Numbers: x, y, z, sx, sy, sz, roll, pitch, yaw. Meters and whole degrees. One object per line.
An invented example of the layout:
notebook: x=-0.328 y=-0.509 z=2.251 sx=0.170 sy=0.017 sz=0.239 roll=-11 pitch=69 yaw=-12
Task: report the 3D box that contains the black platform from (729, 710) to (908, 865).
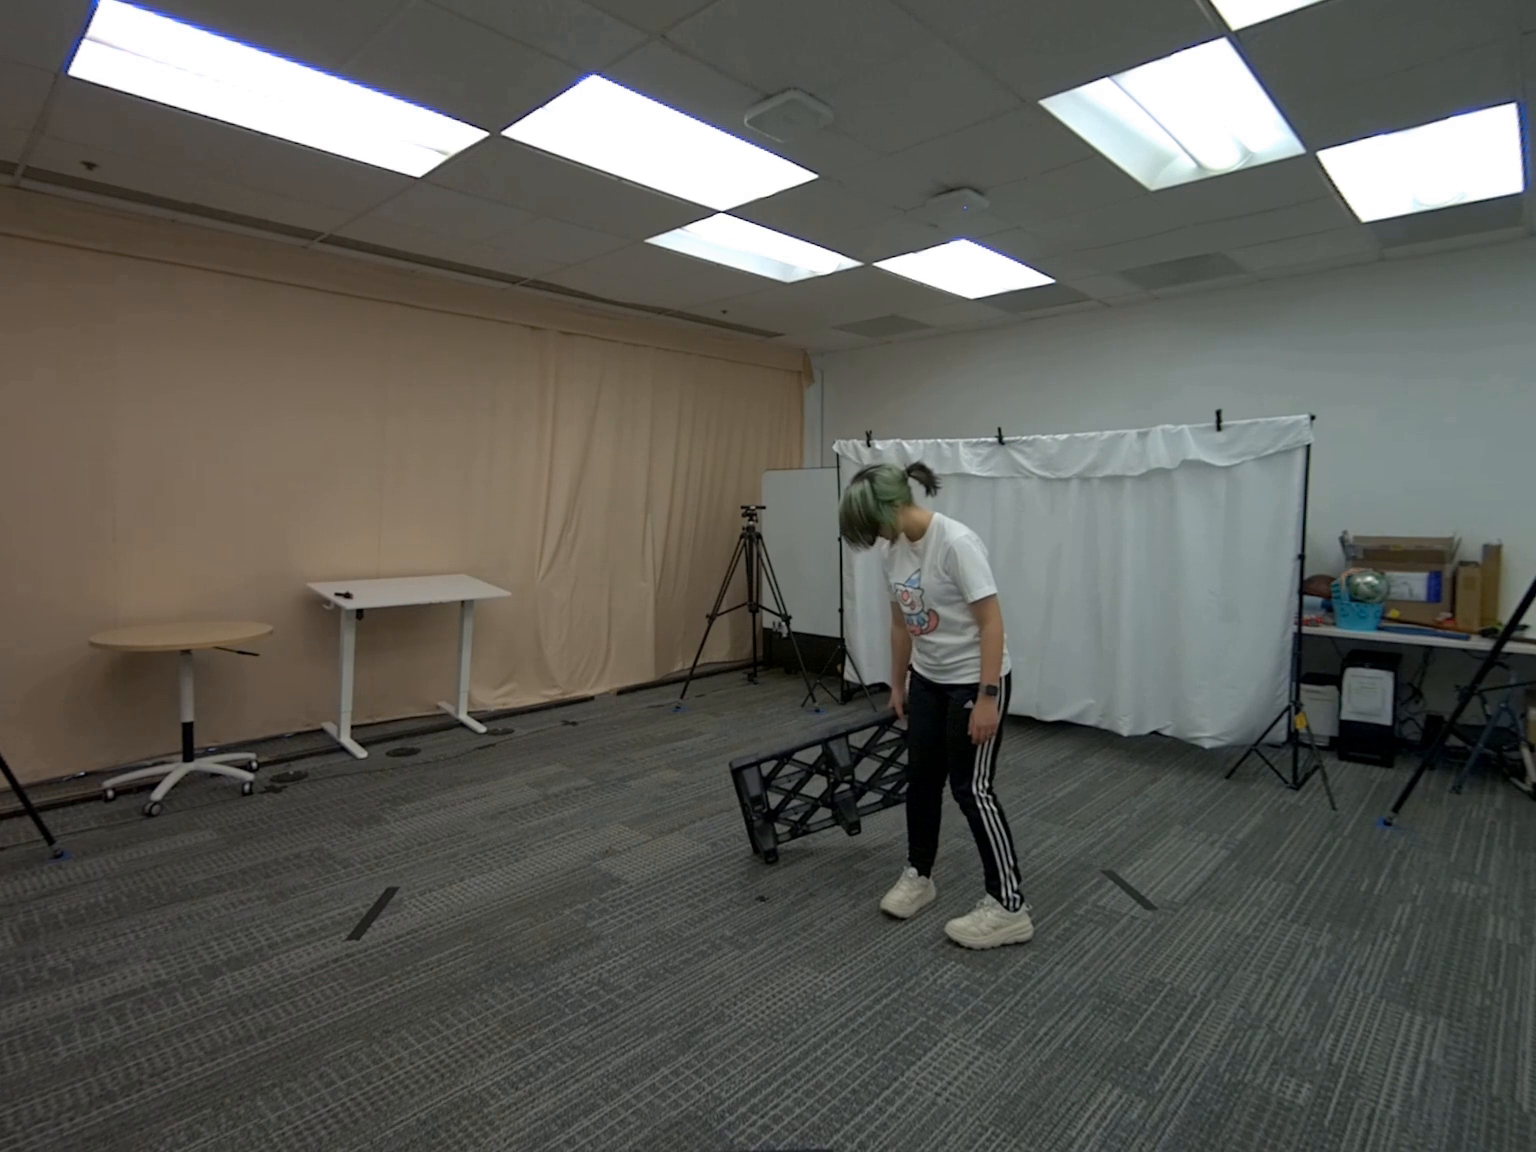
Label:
black platform: x=0.292 y=0.806 z=3.197 sx=0.803 sy=0.590 sz=0.147 roll=-16 pitch=39 yaw=-4
